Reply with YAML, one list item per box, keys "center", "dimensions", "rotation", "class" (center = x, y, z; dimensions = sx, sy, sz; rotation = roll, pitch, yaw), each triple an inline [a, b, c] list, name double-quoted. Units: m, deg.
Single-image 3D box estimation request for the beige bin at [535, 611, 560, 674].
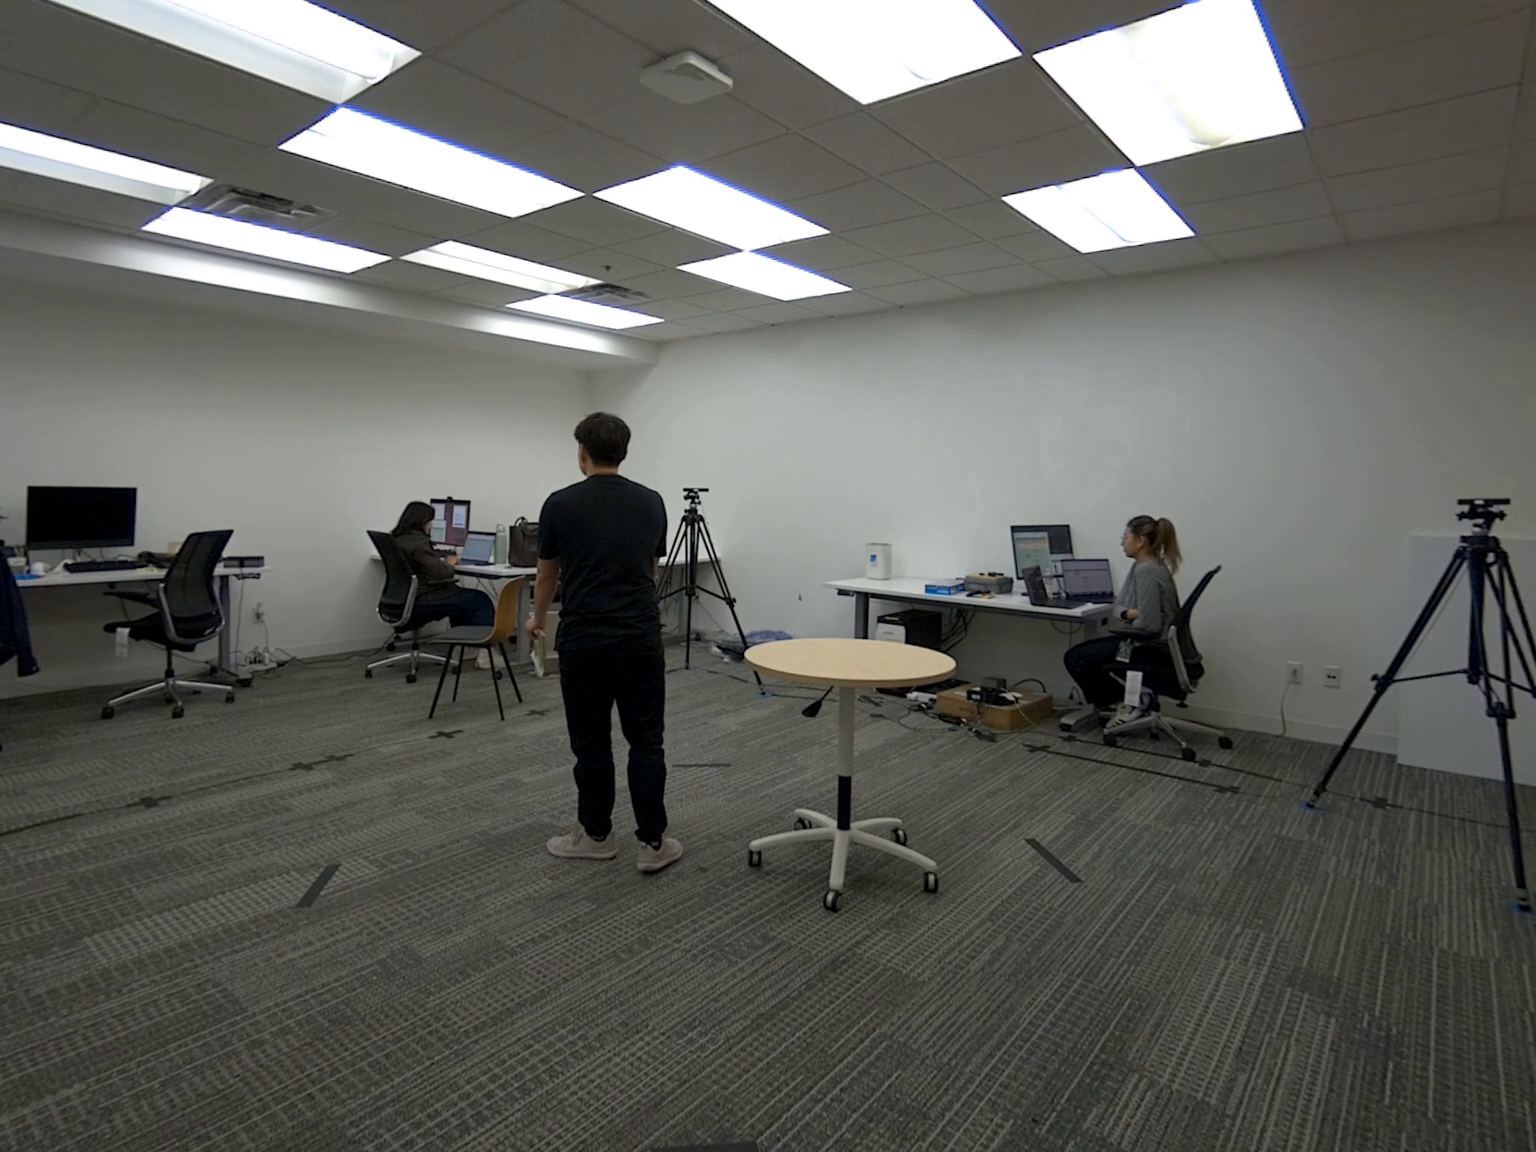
- center: [-0.739, 0.272, 3.468]
  dimensions: [0.414, 0.187, 0.388]
  rotation: [-3, 9, -22]
  class: "beige bin"
